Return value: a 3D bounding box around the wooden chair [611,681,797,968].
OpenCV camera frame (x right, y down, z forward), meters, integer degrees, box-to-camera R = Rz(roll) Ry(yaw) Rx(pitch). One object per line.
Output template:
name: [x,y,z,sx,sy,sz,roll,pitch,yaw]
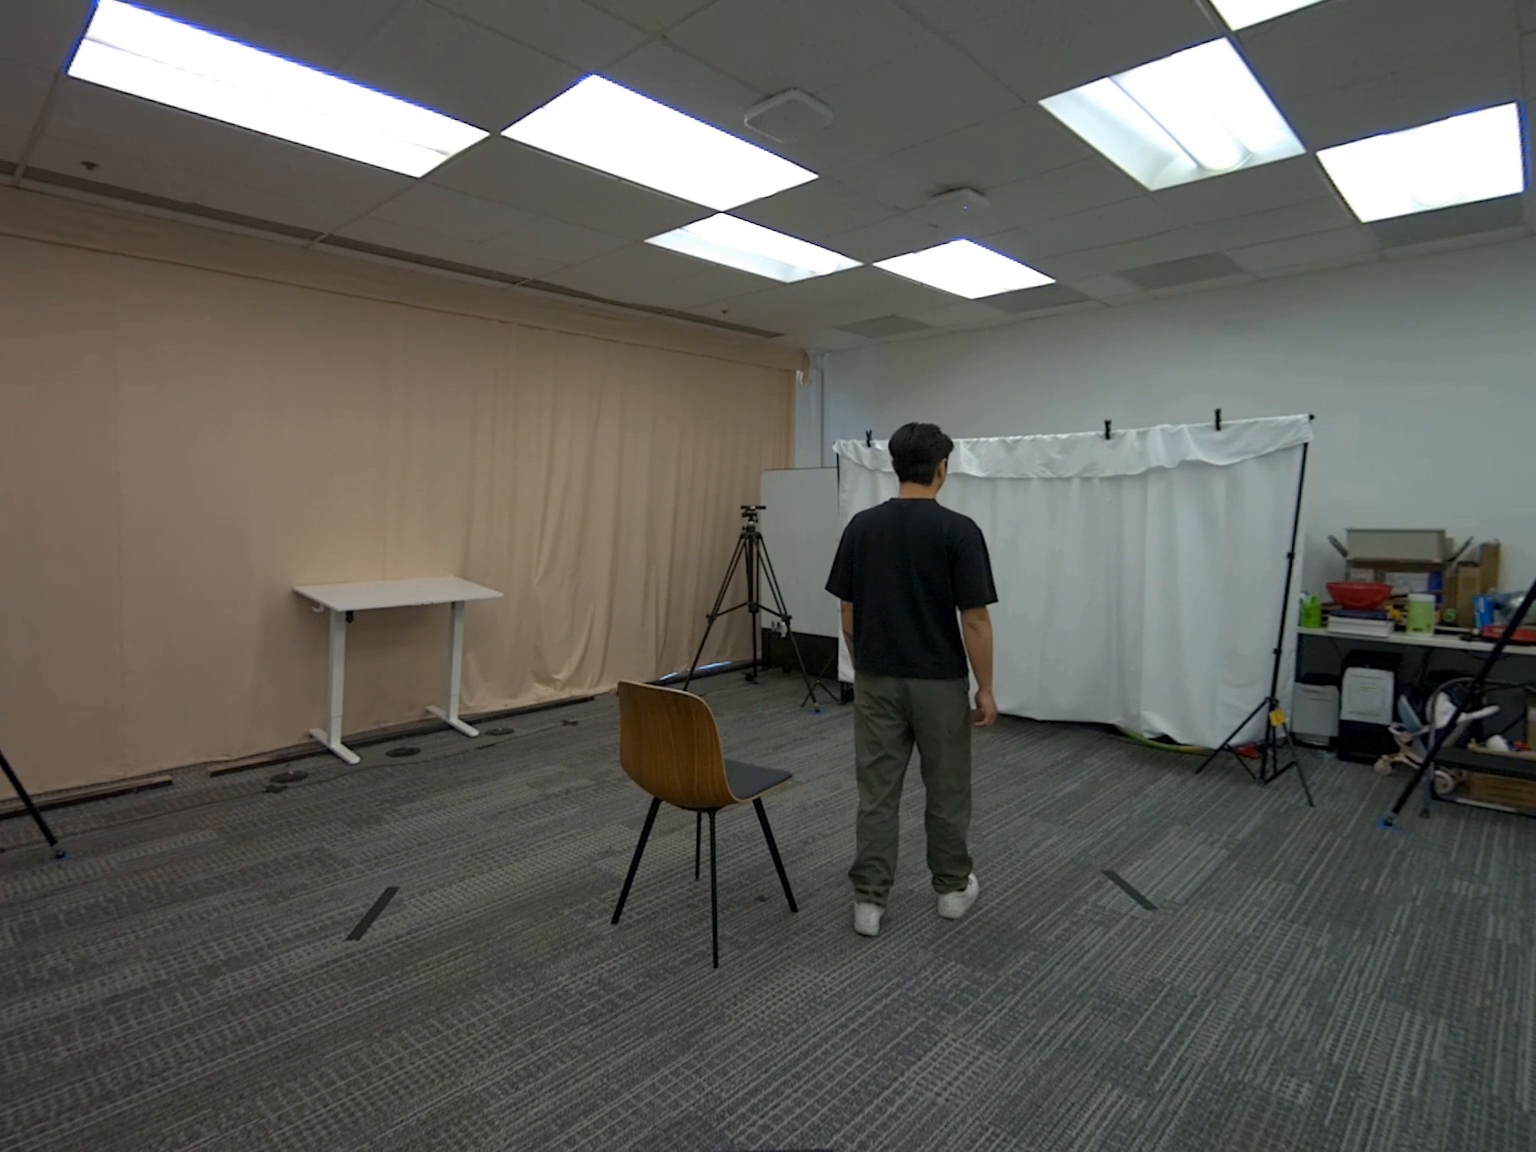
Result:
wooden chair: [-0.207,0.731,2.830,0.493,0.874,0.509,2,8,37]
